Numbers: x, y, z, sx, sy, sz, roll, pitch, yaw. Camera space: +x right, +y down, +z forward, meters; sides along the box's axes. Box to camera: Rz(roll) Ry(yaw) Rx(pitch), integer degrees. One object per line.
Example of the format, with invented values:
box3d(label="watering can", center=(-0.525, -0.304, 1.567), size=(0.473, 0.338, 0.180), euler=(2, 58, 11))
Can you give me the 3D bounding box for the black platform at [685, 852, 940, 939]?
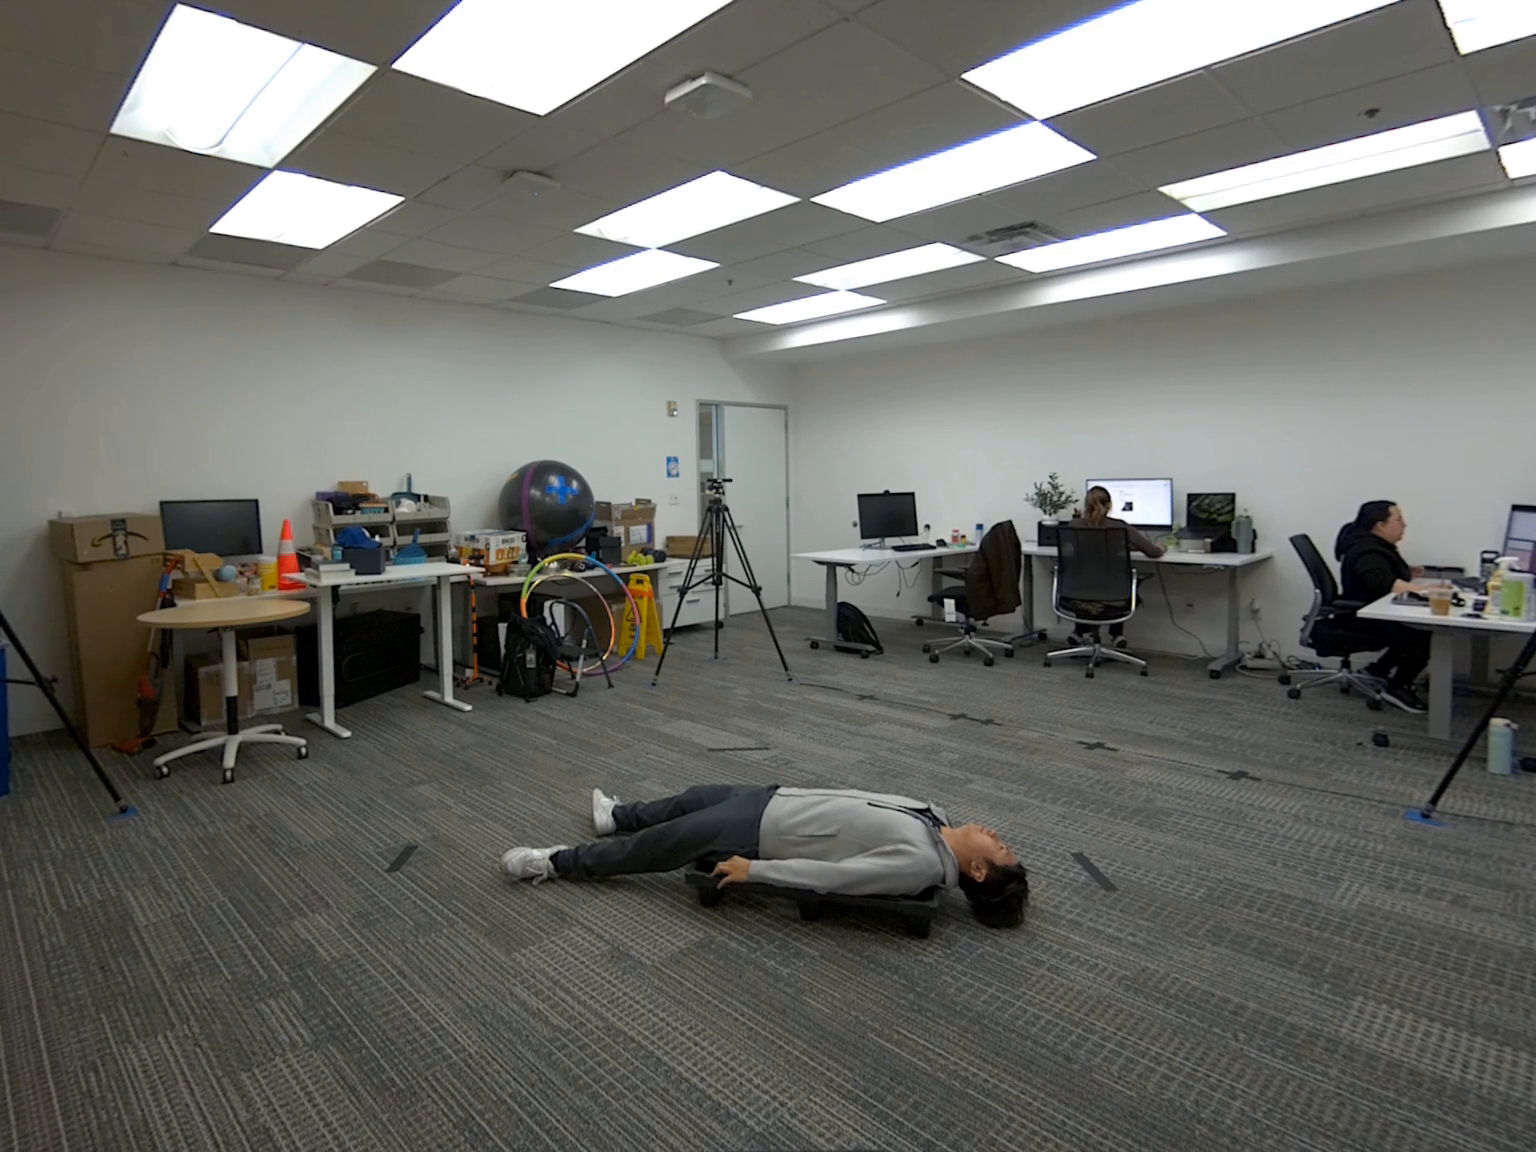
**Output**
box3d(label="black platform", center=(0.192, 0.982, 2.919), size=(0.821, 0.143, 0.595), euler=(3, 5, 20))
